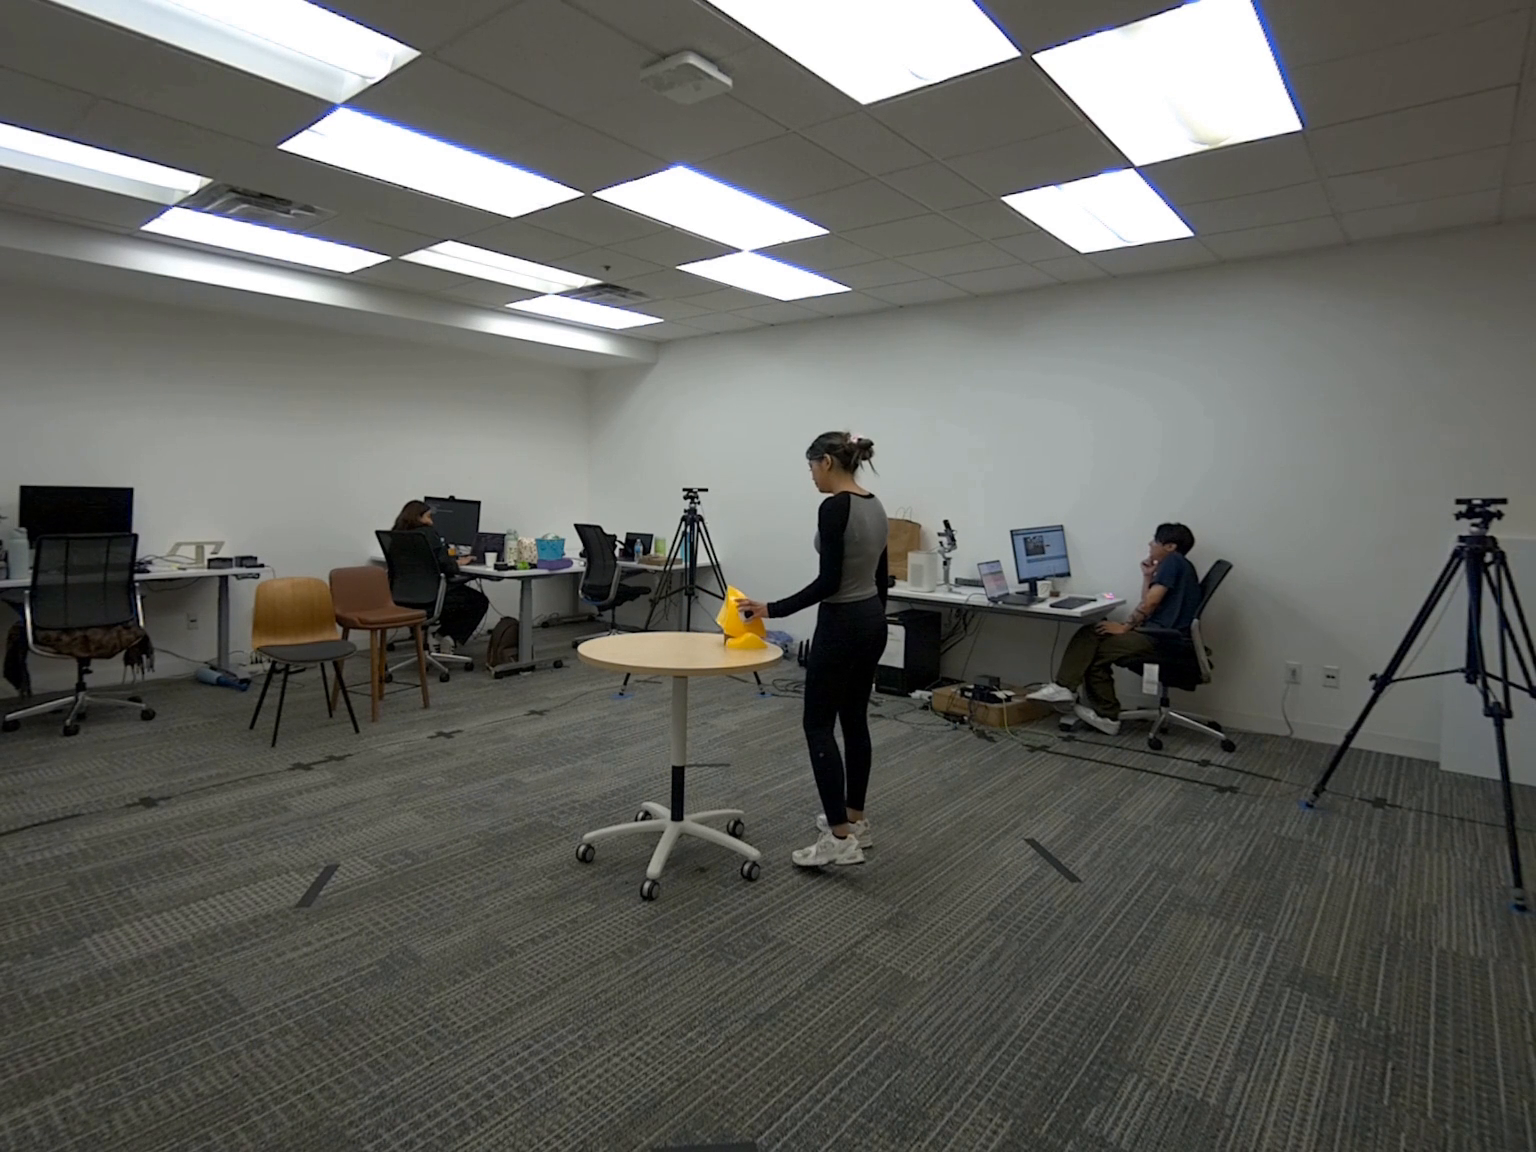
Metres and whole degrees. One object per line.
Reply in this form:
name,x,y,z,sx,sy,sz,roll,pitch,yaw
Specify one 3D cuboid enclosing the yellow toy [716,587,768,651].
yellow toy,-0.109,0.148,3.313,0.191,0.230,0.207,-2,4,-8
